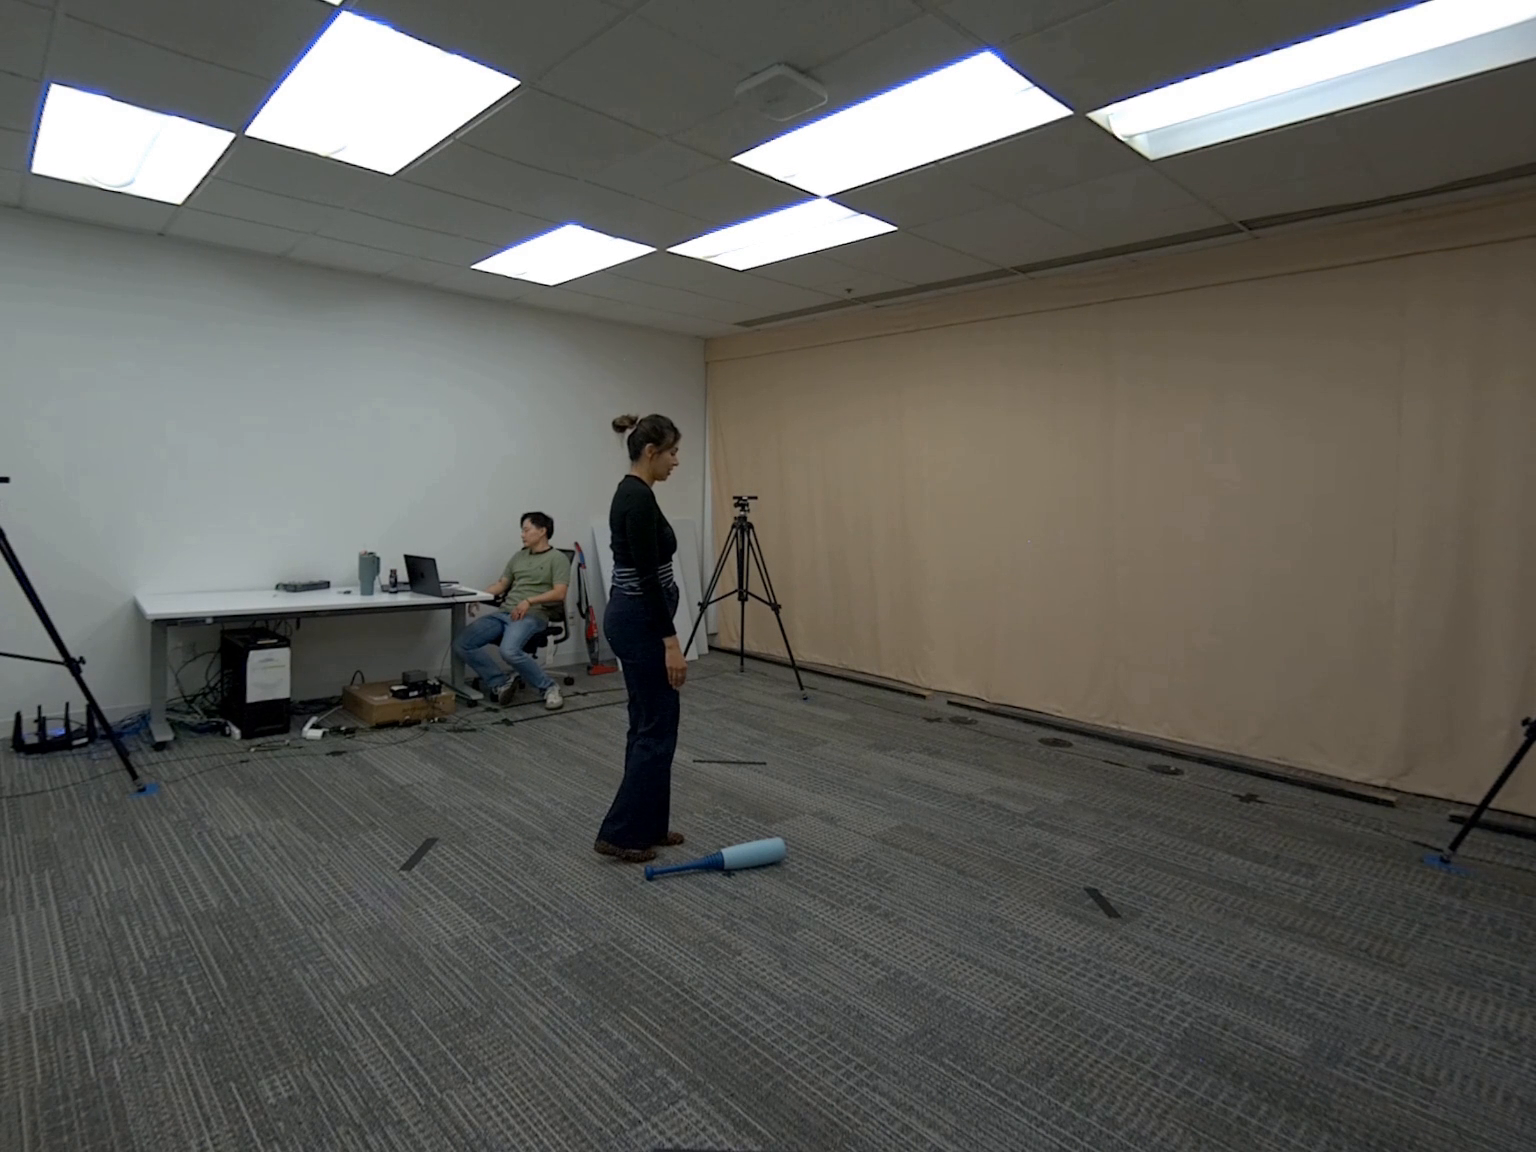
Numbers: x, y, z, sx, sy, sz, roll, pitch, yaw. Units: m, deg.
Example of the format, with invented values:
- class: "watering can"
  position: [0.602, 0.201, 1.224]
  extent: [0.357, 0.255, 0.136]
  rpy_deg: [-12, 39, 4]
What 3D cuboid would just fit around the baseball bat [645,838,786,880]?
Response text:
- class: "baseball bat"
  position: [-0.195, 1.062, 3.133]
  extent: [0.536, 0.089, 0.090]
  rpy_deg: [-5, 6, -19]
